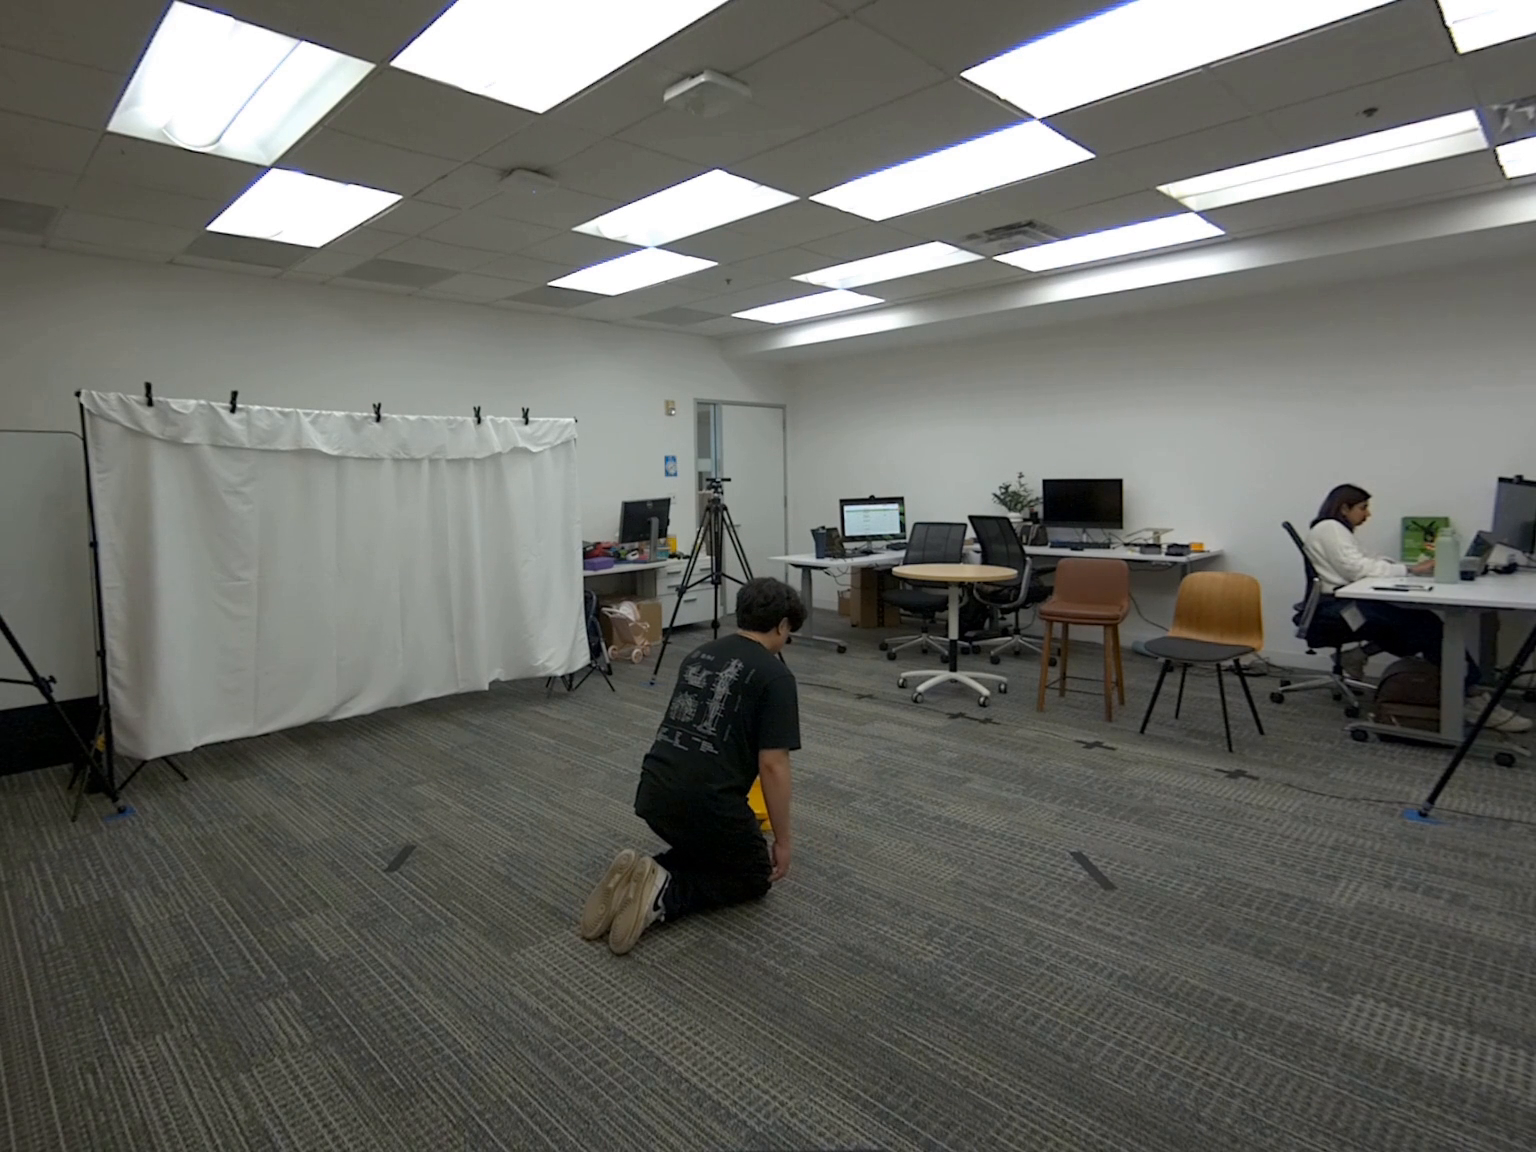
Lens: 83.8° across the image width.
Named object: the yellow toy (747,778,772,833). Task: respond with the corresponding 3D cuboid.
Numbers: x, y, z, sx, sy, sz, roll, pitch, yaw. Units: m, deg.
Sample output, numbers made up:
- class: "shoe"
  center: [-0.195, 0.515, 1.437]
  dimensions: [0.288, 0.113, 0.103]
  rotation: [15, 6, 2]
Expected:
- class: "yellow toy"
  center: [-0.047, 0.892, 3.466]
  dimensions: [0.206, 0.230, 0.192]
  rotation: [0, 5, 6]
